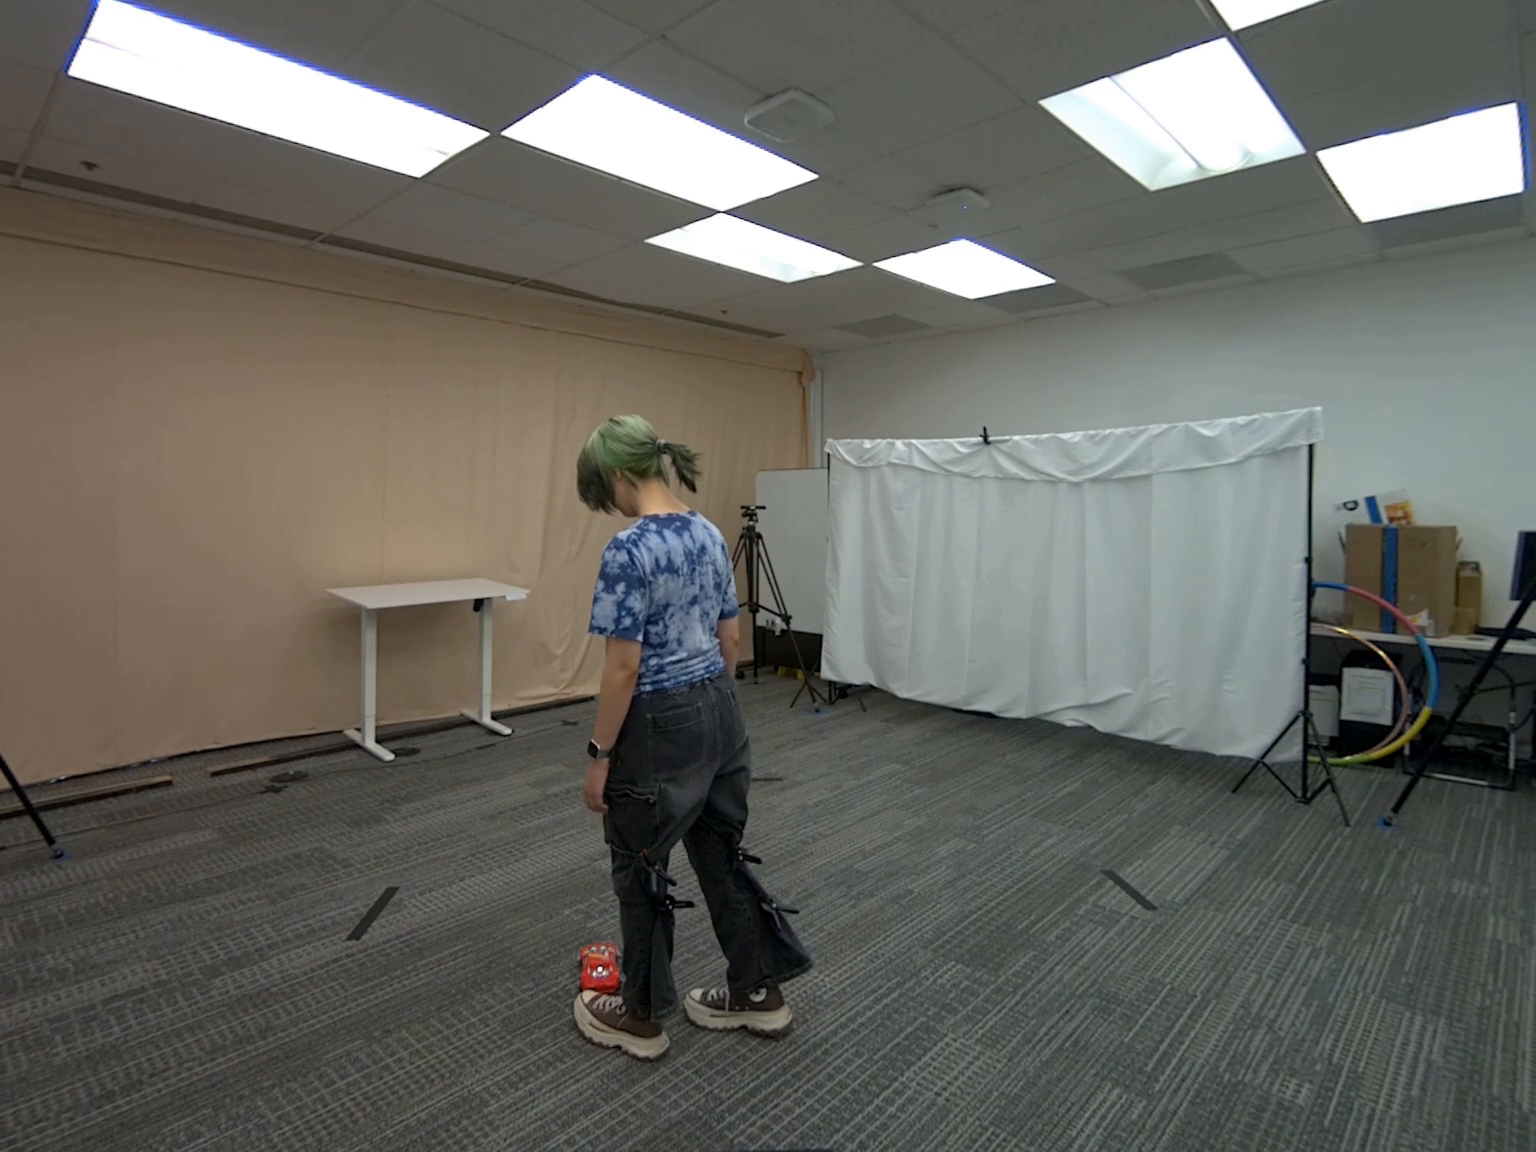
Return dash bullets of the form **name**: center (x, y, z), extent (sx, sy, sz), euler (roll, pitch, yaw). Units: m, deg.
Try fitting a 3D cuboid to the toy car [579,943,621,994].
- **toy car**: center (-0.495, 1.160, 2.464), extent (0.129, 0.083, 0.256), euler (-1, -7, -12)
